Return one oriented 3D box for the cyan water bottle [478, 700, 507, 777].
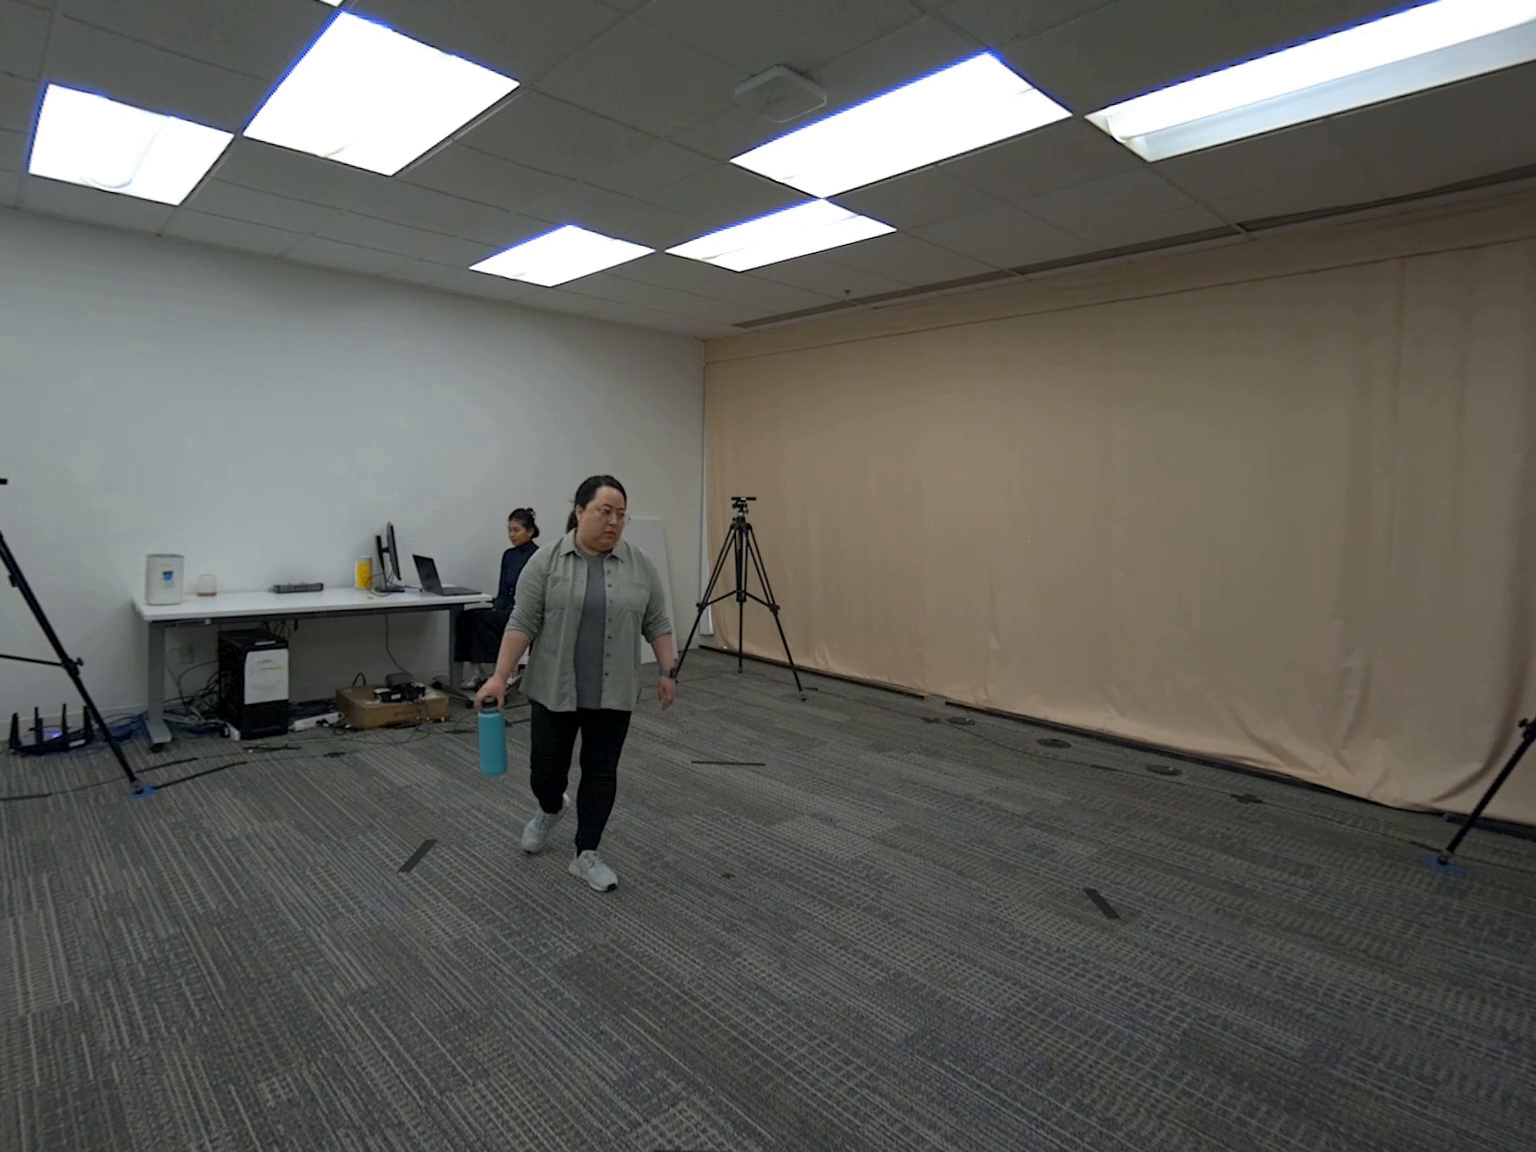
[{"bbox_3d":[-0.957,0.555,2.937,0.092,0.282,0.093,0,8,-1],"label":"cyan water bottle"}]
